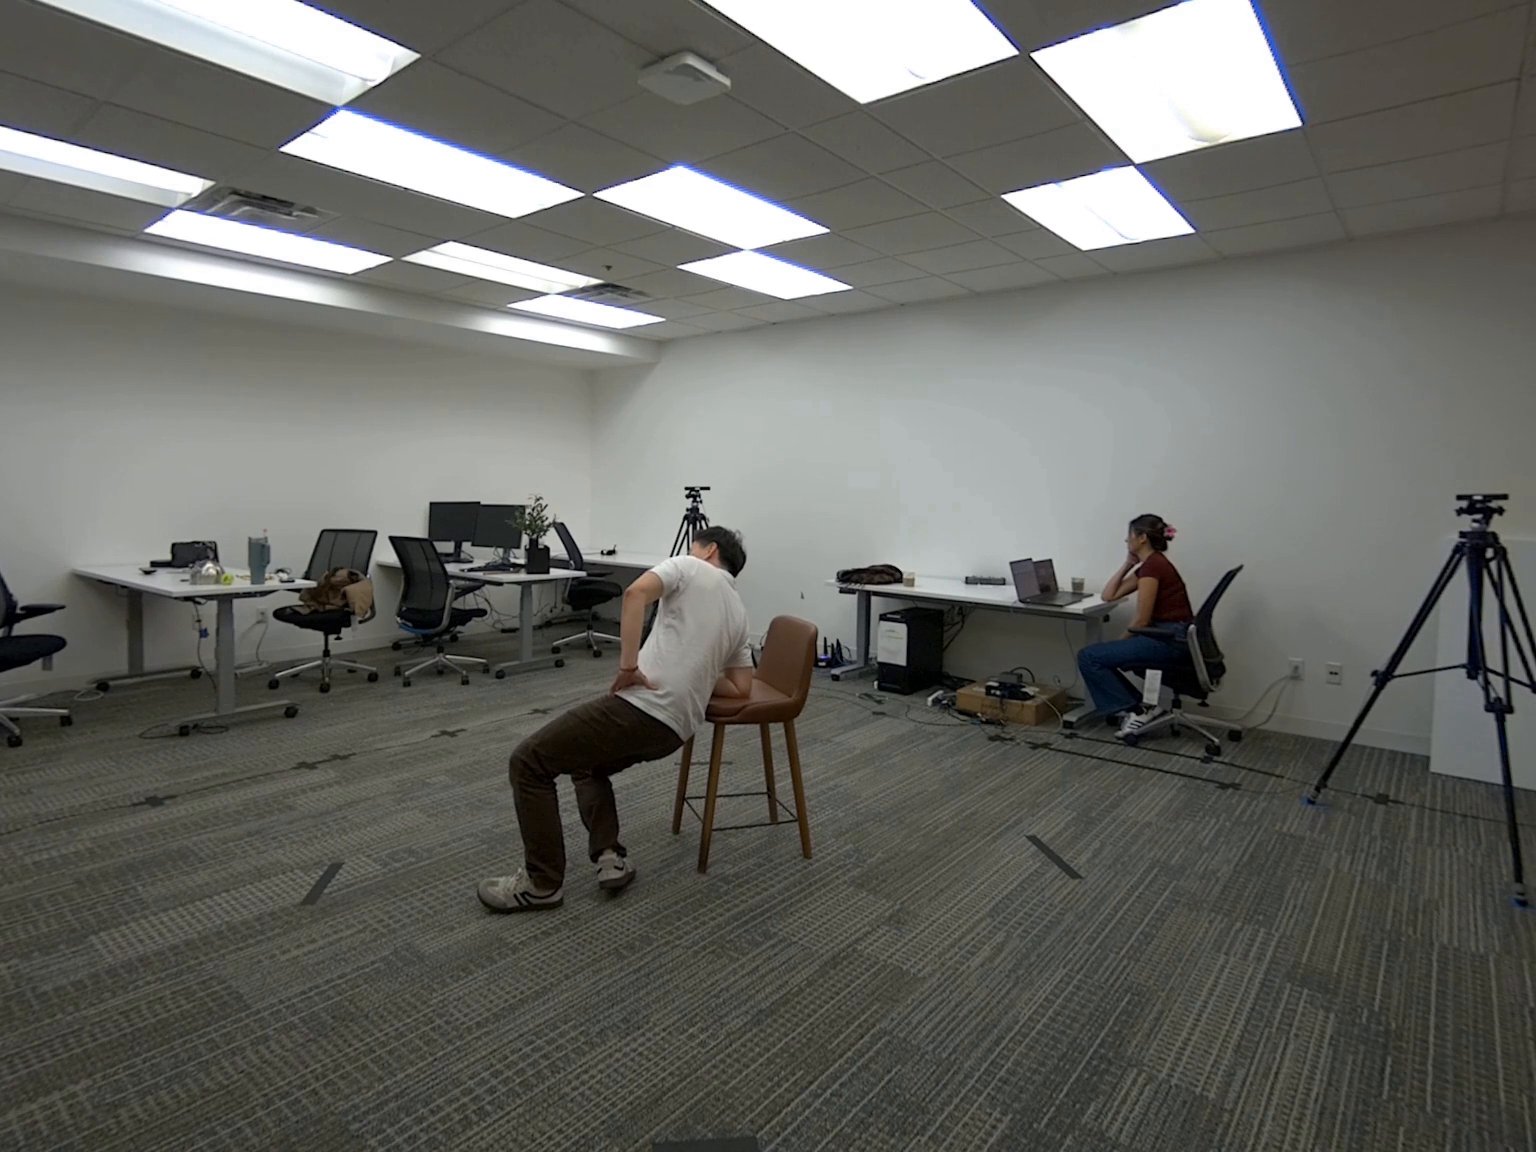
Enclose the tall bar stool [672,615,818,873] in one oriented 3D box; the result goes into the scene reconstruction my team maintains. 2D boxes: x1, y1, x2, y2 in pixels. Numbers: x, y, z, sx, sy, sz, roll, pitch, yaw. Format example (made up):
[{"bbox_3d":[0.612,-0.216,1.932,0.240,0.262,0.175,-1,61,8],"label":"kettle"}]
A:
[{"bbox_3d":[-0.105,0.612,3.301,0.458,0.888,0.467,1,3,-20],"label":"tall bar stool"}]
